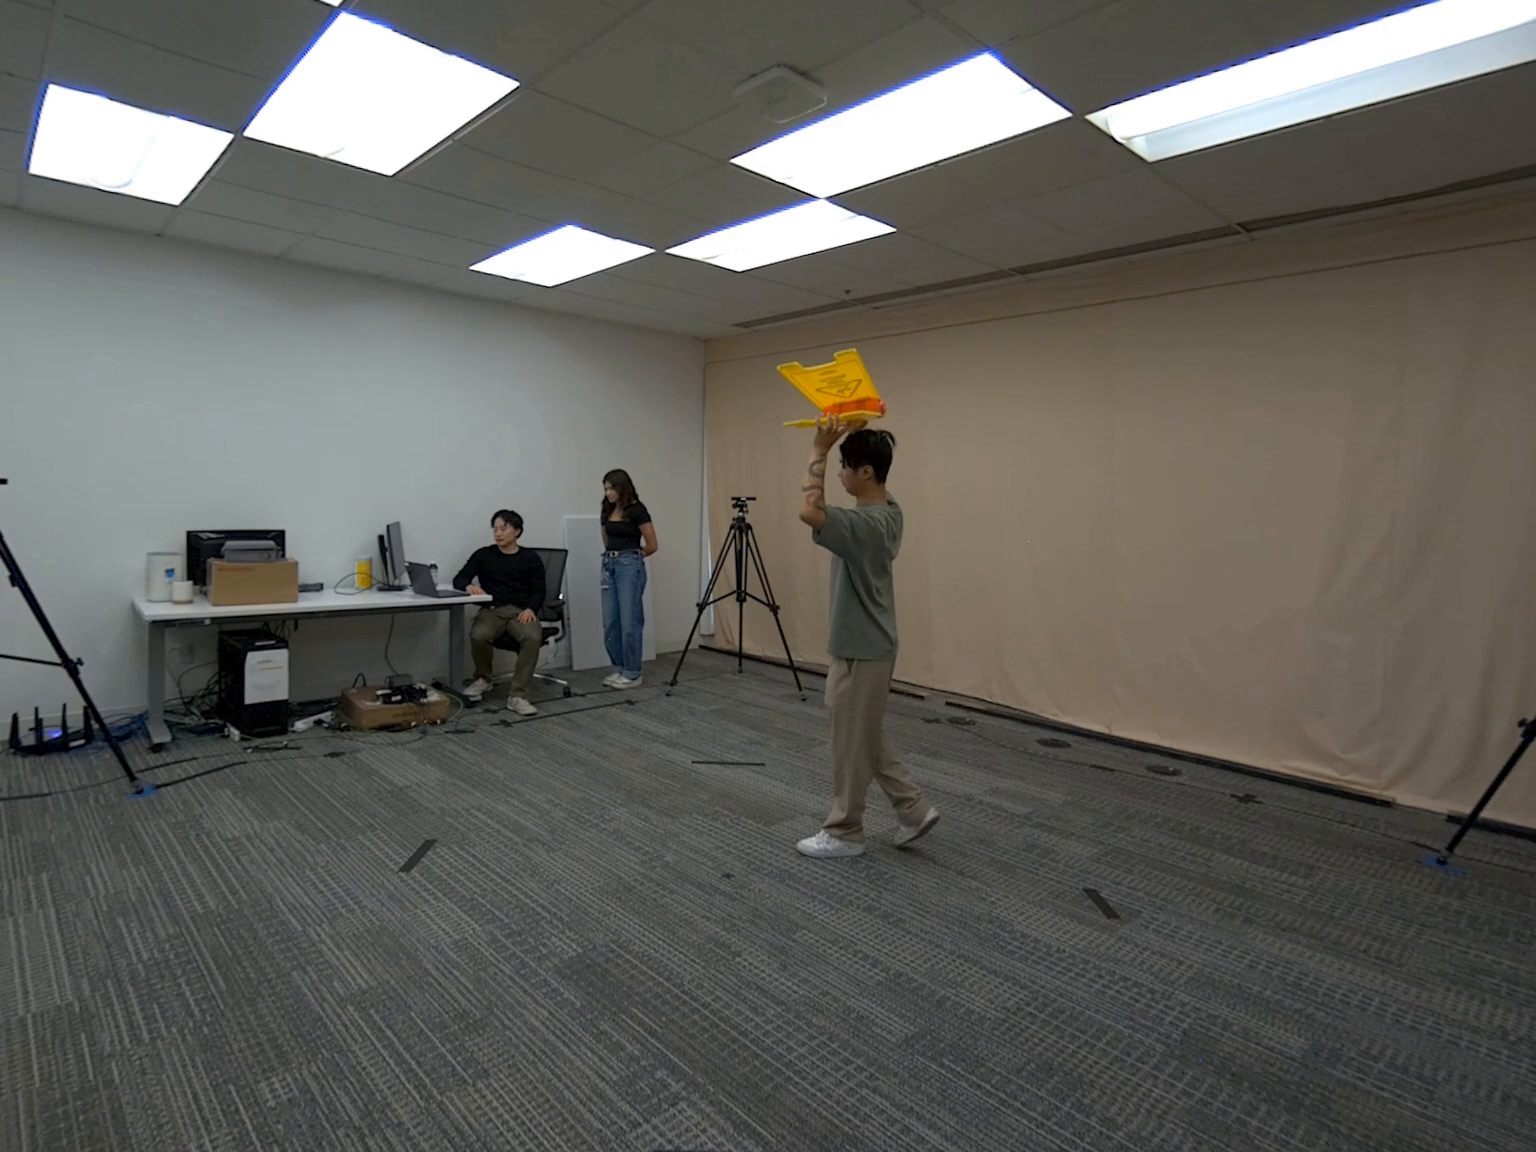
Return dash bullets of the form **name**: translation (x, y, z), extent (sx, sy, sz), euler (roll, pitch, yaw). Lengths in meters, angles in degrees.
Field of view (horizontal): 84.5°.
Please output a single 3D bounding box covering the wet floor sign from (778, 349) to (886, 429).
- **wet floor sign**: translation (0.282, -0.634, 3.139), extent (0.285, 0.290, 0.638), euler (-8, 0, 17)
